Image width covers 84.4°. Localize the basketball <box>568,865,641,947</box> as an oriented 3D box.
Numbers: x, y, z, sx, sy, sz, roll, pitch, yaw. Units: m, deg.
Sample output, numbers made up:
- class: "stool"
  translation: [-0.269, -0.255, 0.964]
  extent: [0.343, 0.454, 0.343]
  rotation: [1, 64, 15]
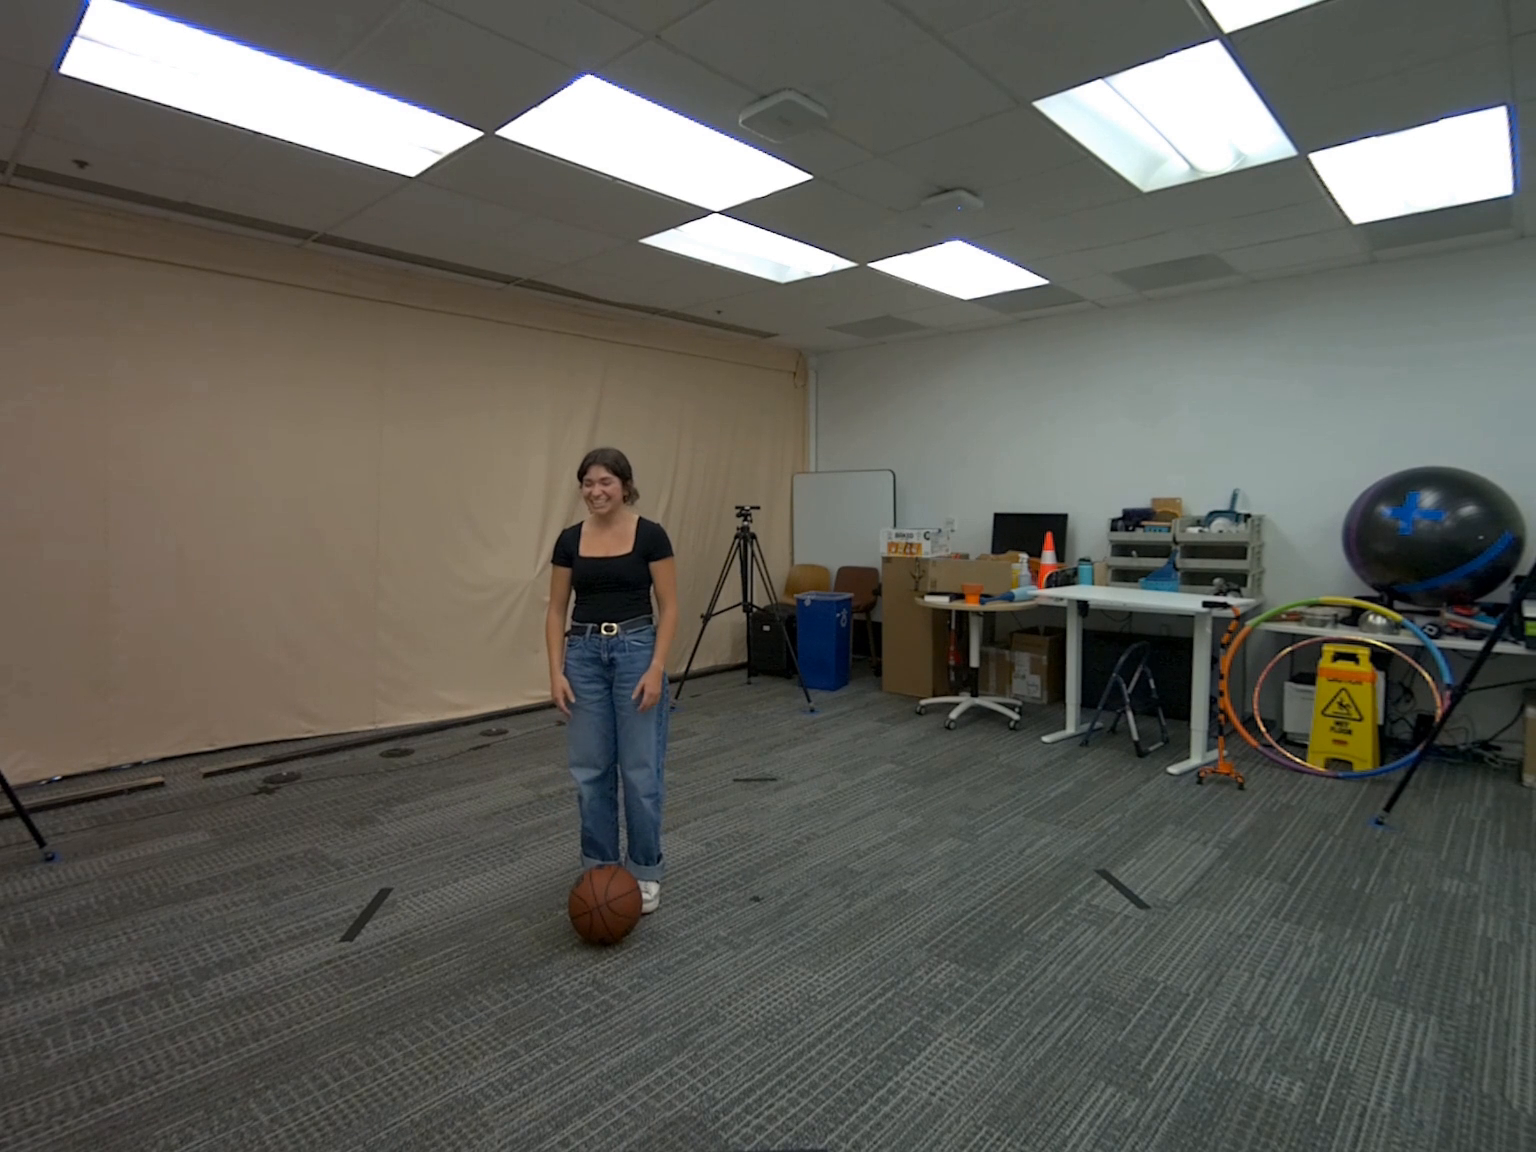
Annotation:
- class: "basketball"
  translation: [-0.523, 1.043, 2.708]
  extent: [0.236, 0.235, 0.237]
  rotation: [0, 4, -2]
